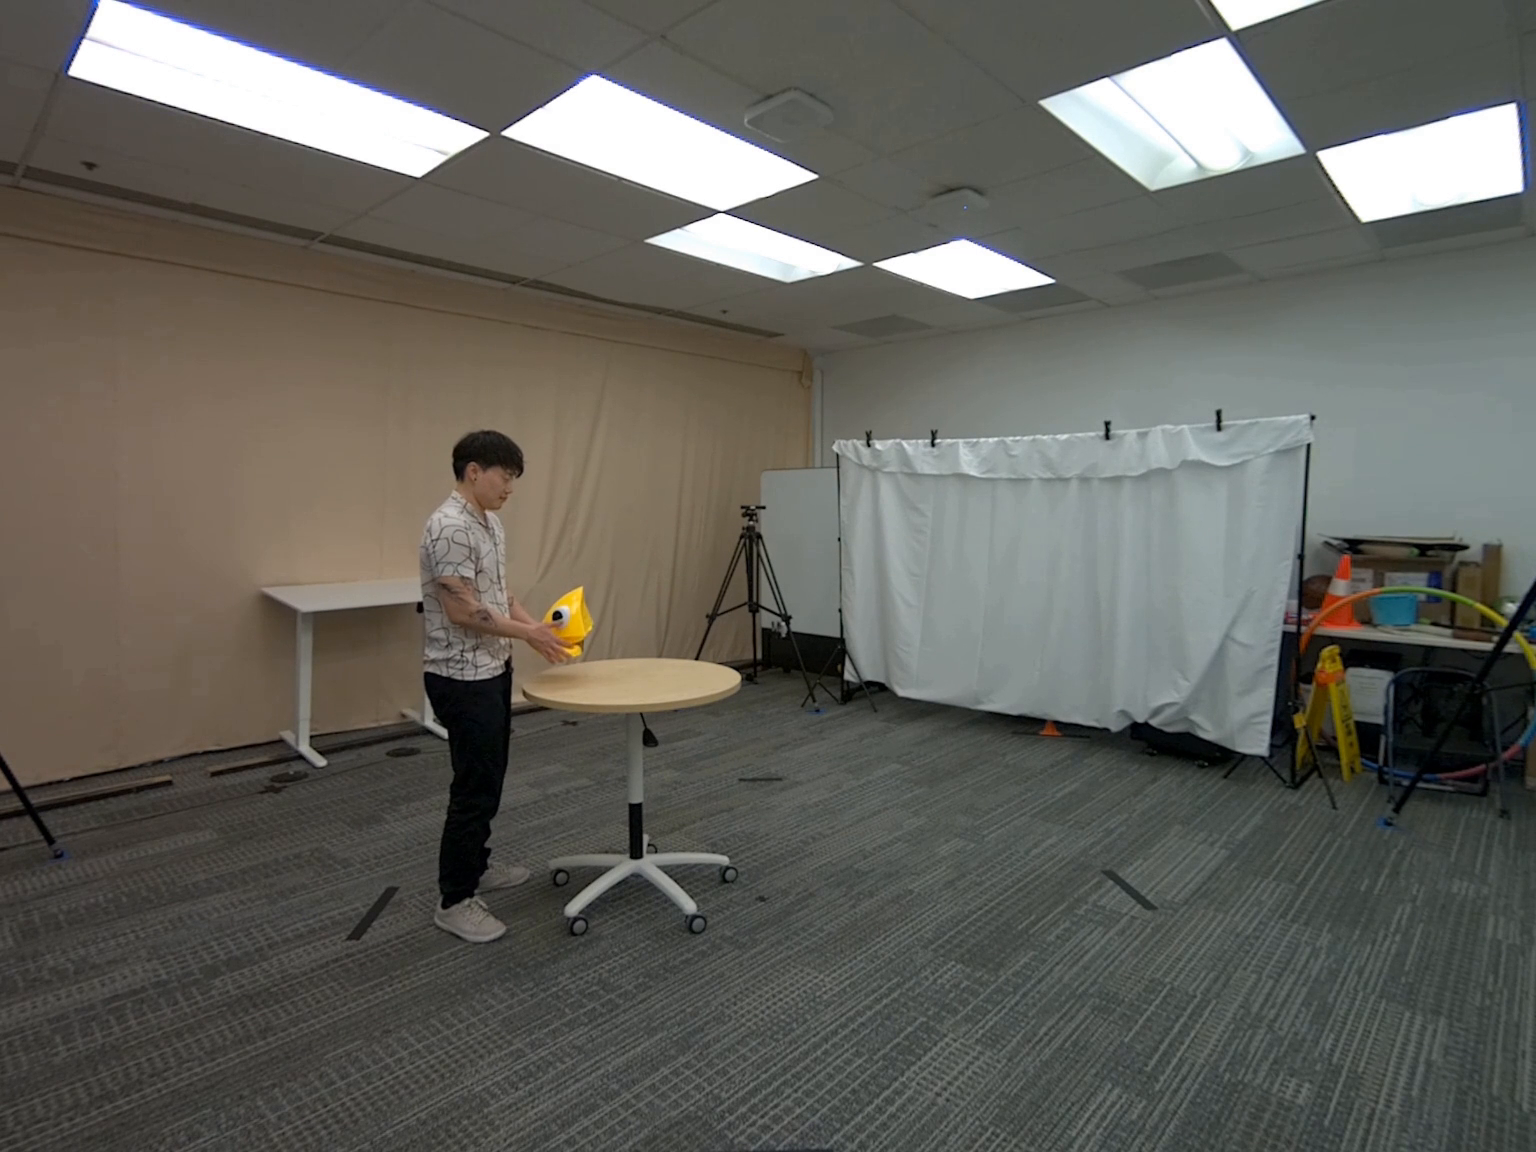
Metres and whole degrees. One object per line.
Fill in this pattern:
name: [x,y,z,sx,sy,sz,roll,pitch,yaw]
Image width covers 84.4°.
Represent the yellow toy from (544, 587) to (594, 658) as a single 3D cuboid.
yellow toy: [-0.719,0.148,2.941,0.192,0.230,0.206,6,7,-3]
